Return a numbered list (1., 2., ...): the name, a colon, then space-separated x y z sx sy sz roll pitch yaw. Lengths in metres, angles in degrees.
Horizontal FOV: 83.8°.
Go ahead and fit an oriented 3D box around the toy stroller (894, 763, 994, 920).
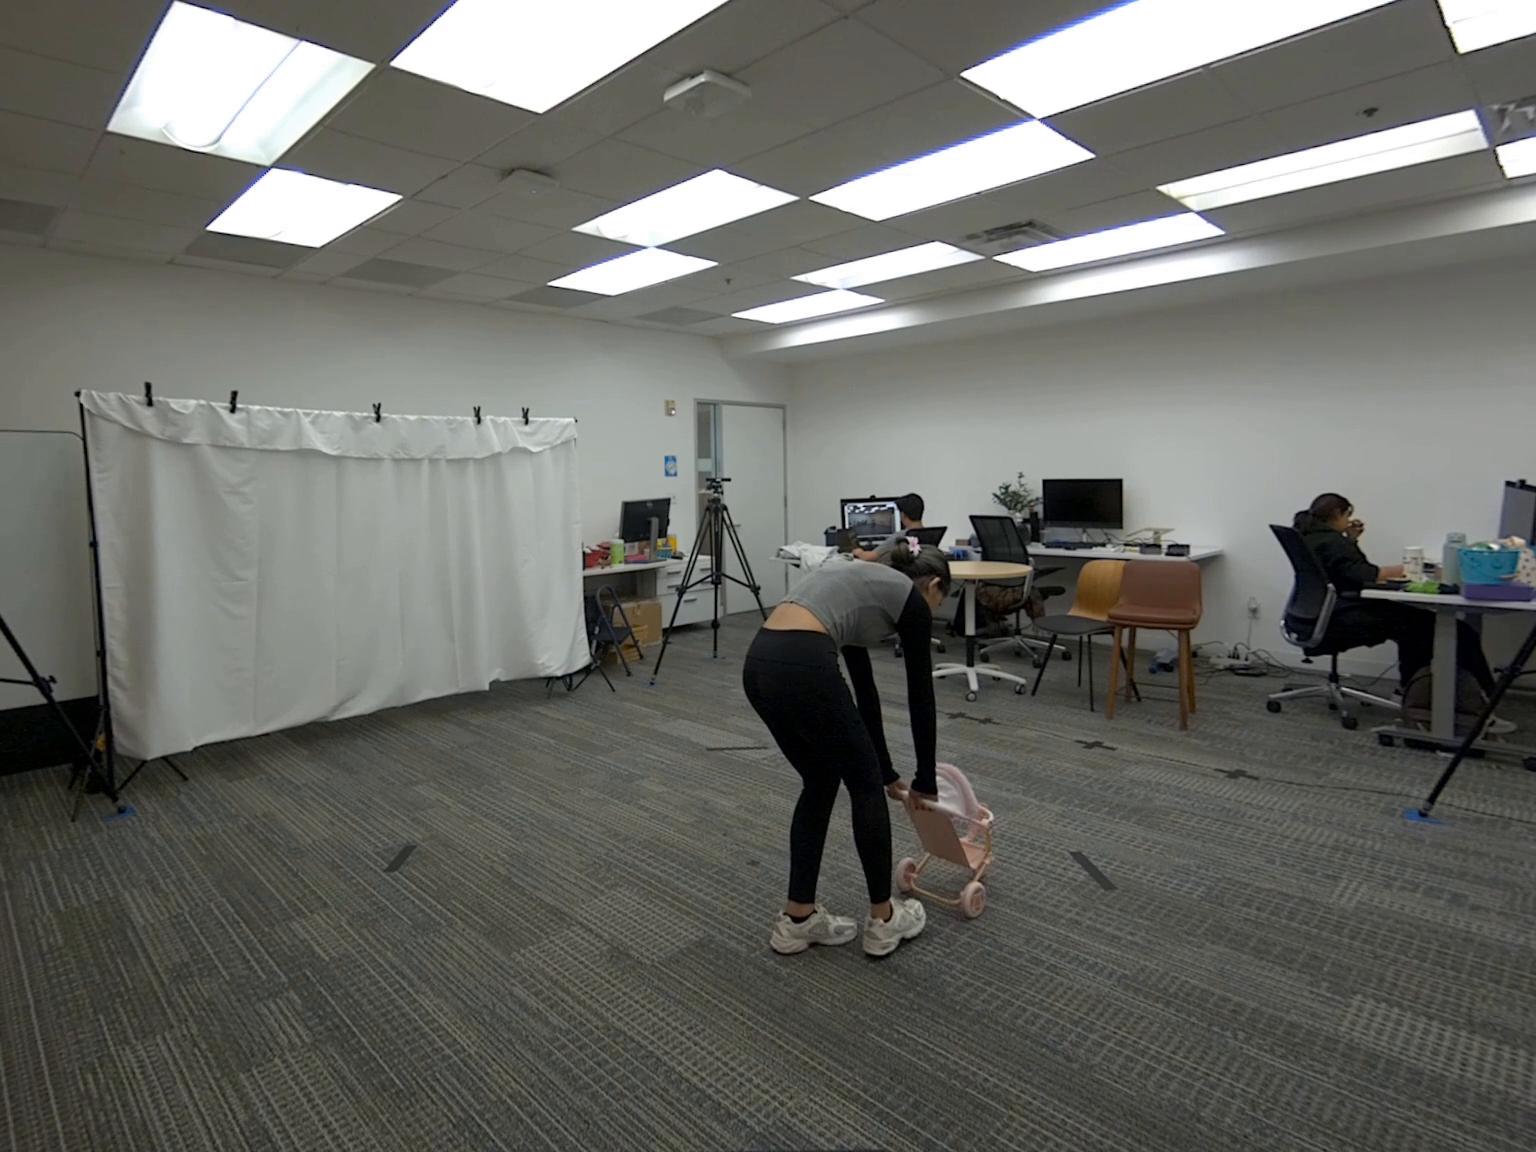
1. toy stroller: 0.601 0.842 2.815 0.337 0.526 0.290 -26 20 -37
